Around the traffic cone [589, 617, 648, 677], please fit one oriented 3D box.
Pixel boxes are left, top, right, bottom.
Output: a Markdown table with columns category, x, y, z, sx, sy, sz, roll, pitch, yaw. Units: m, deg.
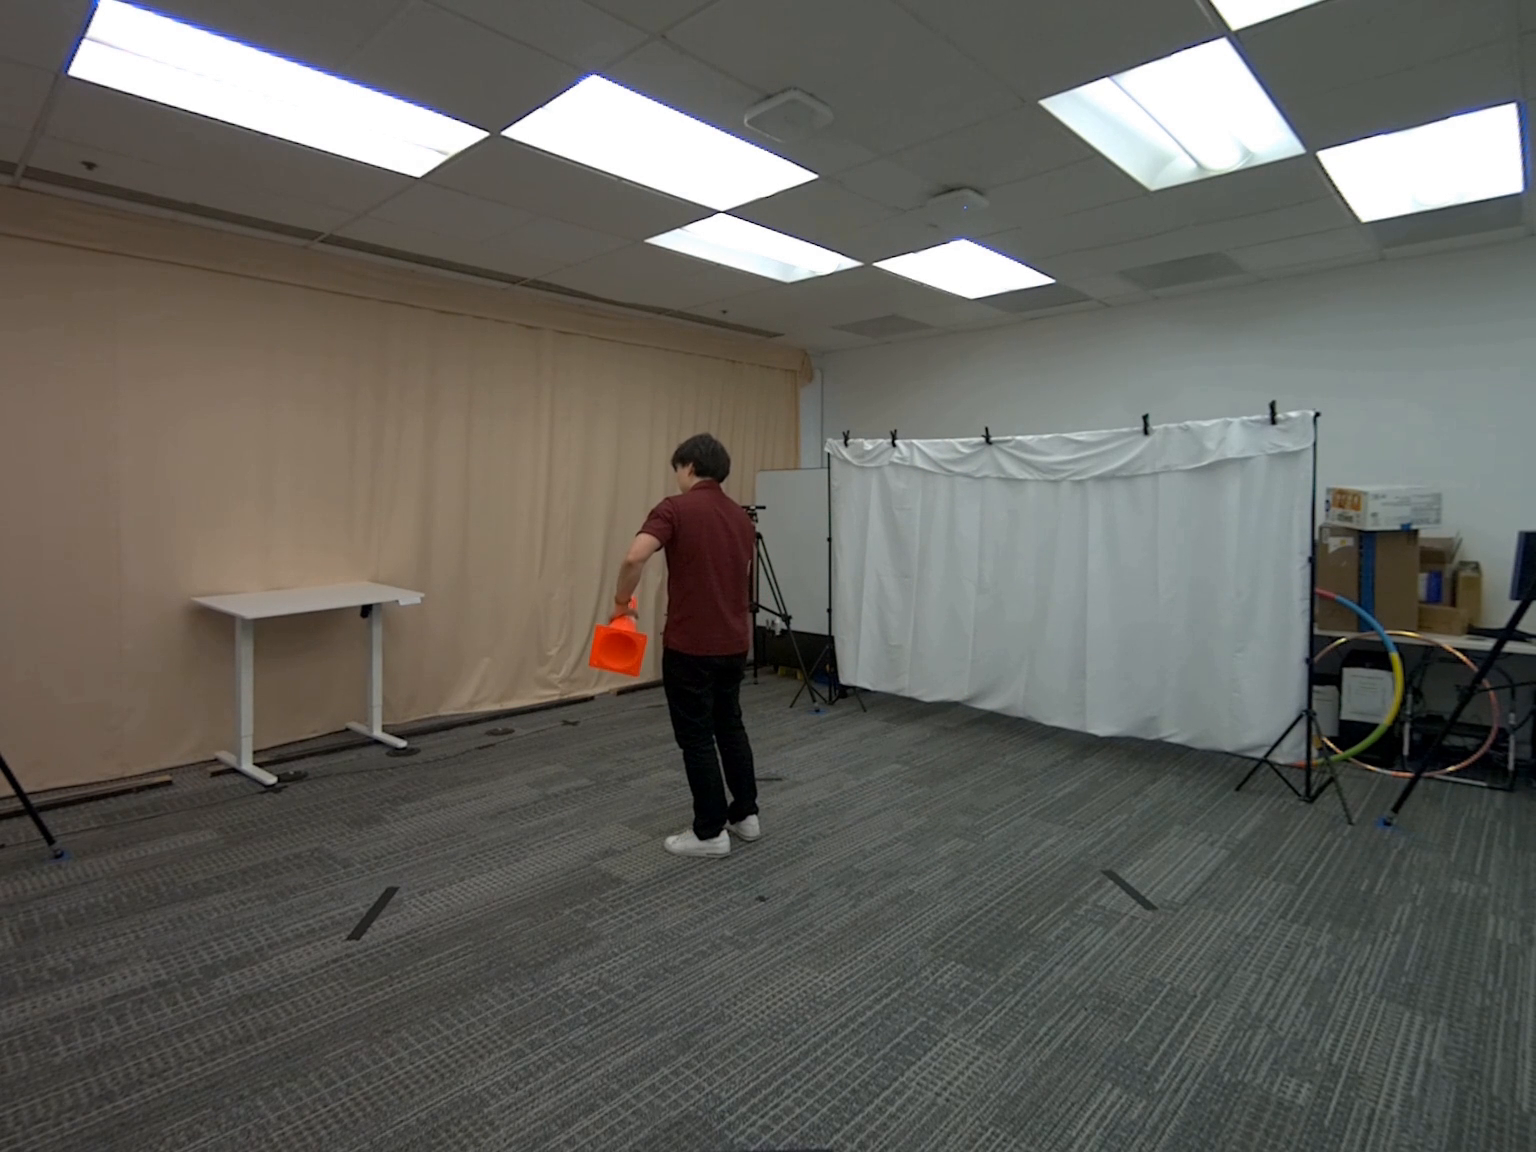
| category | x | y | z | sx | sy | sz | roll | pitch | yaw |
| --- | --- | --- | --- | --- | --- | --- | --- | --- | --- |
| traffic cone | -0.553 | 0.198 | 3.342 | 0.203 | 0.202 | 0.389 | 12 | 26 | -7 |
